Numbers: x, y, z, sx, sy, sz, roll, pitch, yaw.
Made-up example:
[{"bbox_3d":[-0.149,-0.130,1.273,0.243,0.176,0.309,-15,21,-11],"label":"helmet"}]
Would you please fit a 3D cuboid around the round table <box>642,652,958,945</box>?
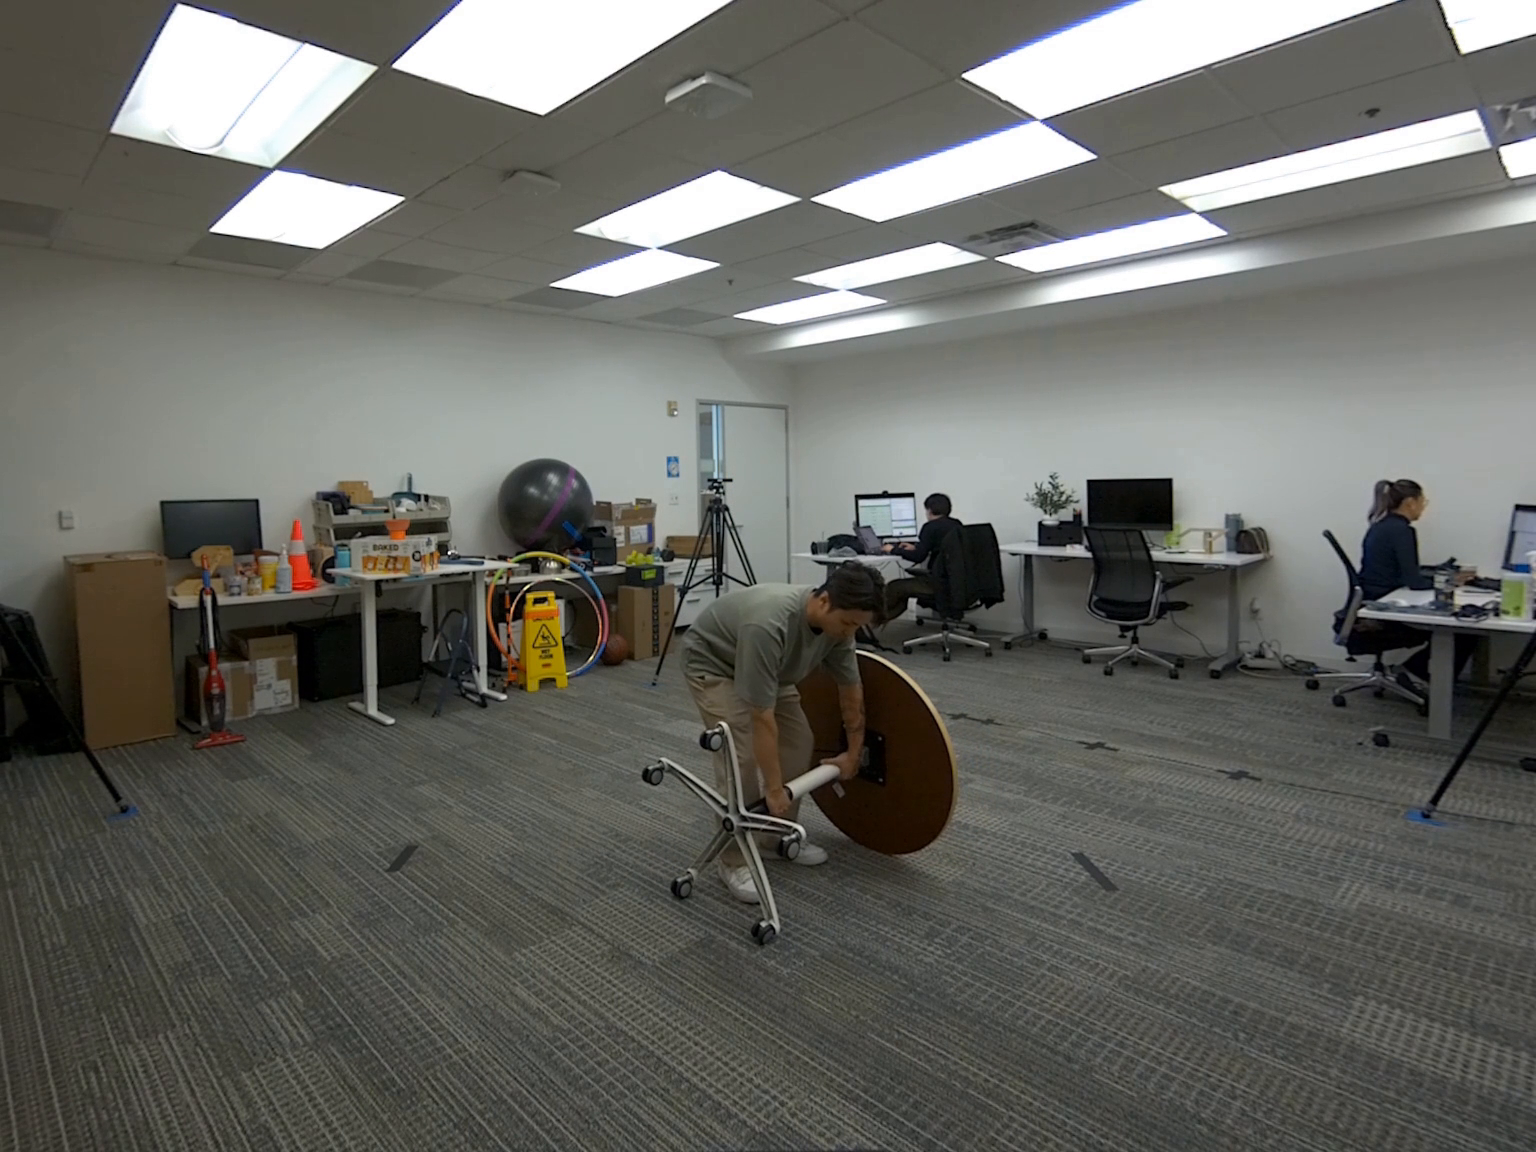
[{"bbox_3d":[0.102,0.731,2.905,0.770,0.778,0.809,-15,13,-43],"label":"round table"}]
